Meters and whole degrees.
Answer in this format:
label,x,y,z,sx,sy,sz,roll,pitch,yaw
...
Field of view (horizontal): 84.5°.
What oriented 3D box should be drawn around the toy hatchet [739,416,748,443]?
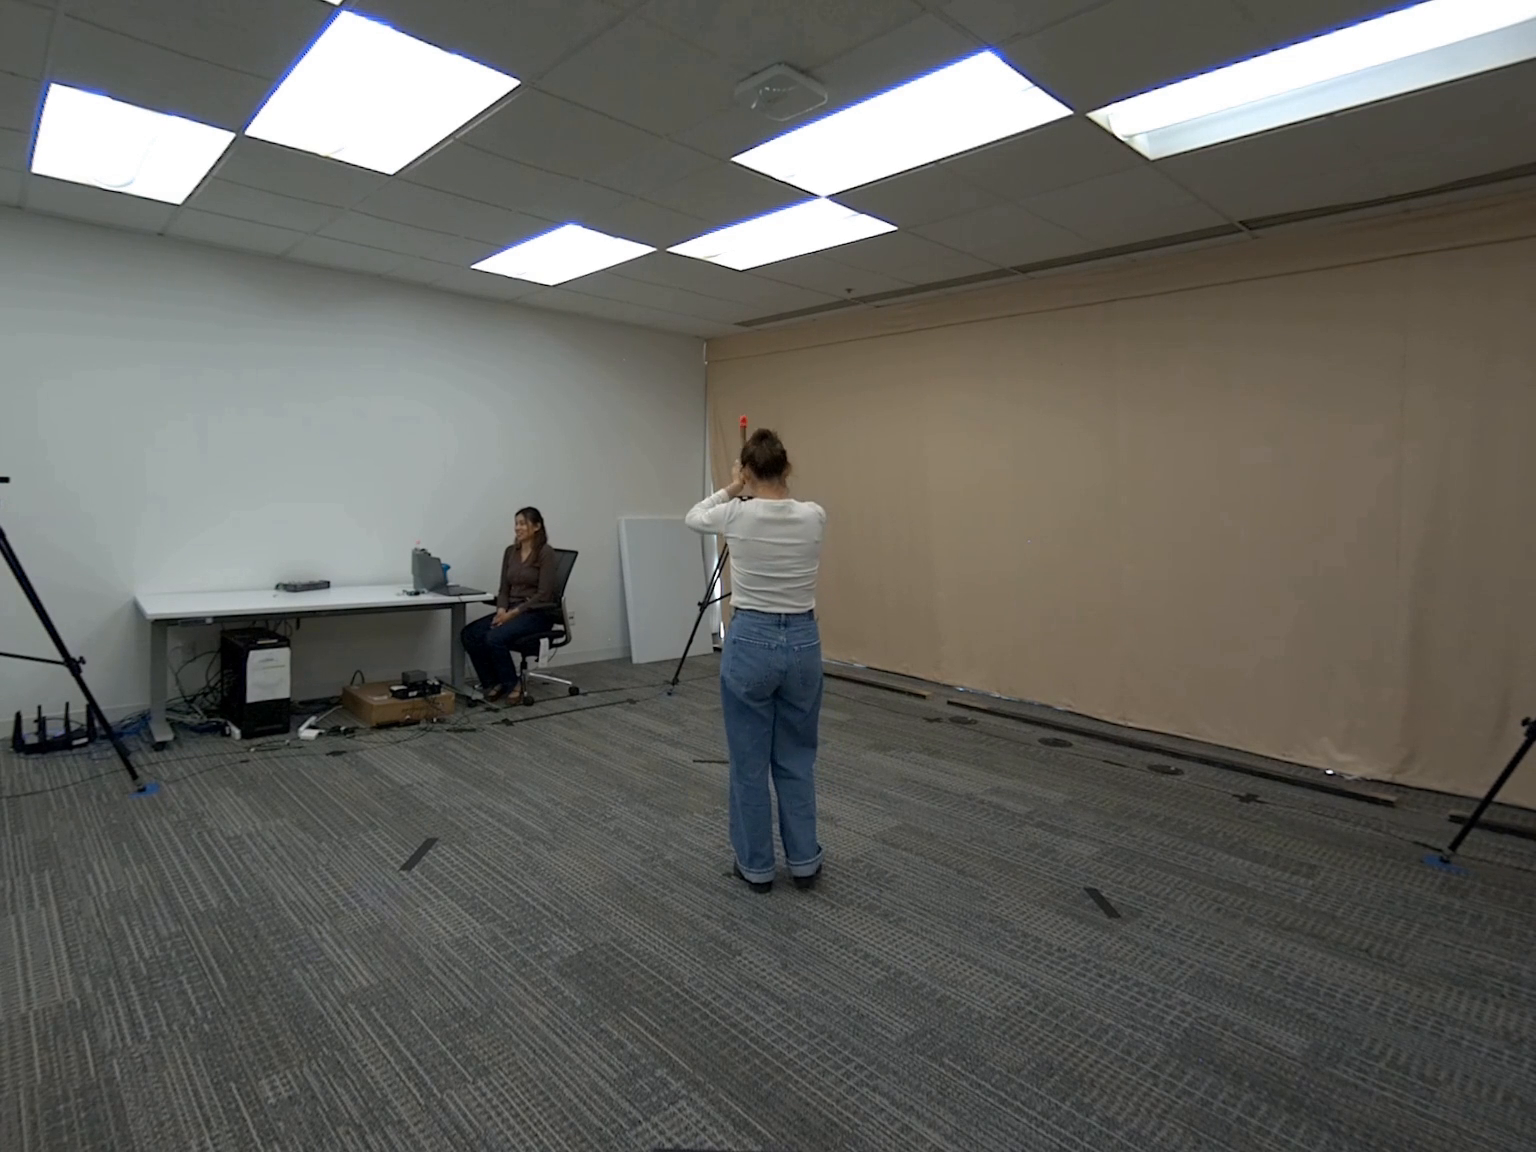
label,x,y,z,sx,sy,sz,roll,pitch,yaw
toy hatchet,-0.101,-0.489,3.282,0.029,0.269,0.132,-3,4,-7
